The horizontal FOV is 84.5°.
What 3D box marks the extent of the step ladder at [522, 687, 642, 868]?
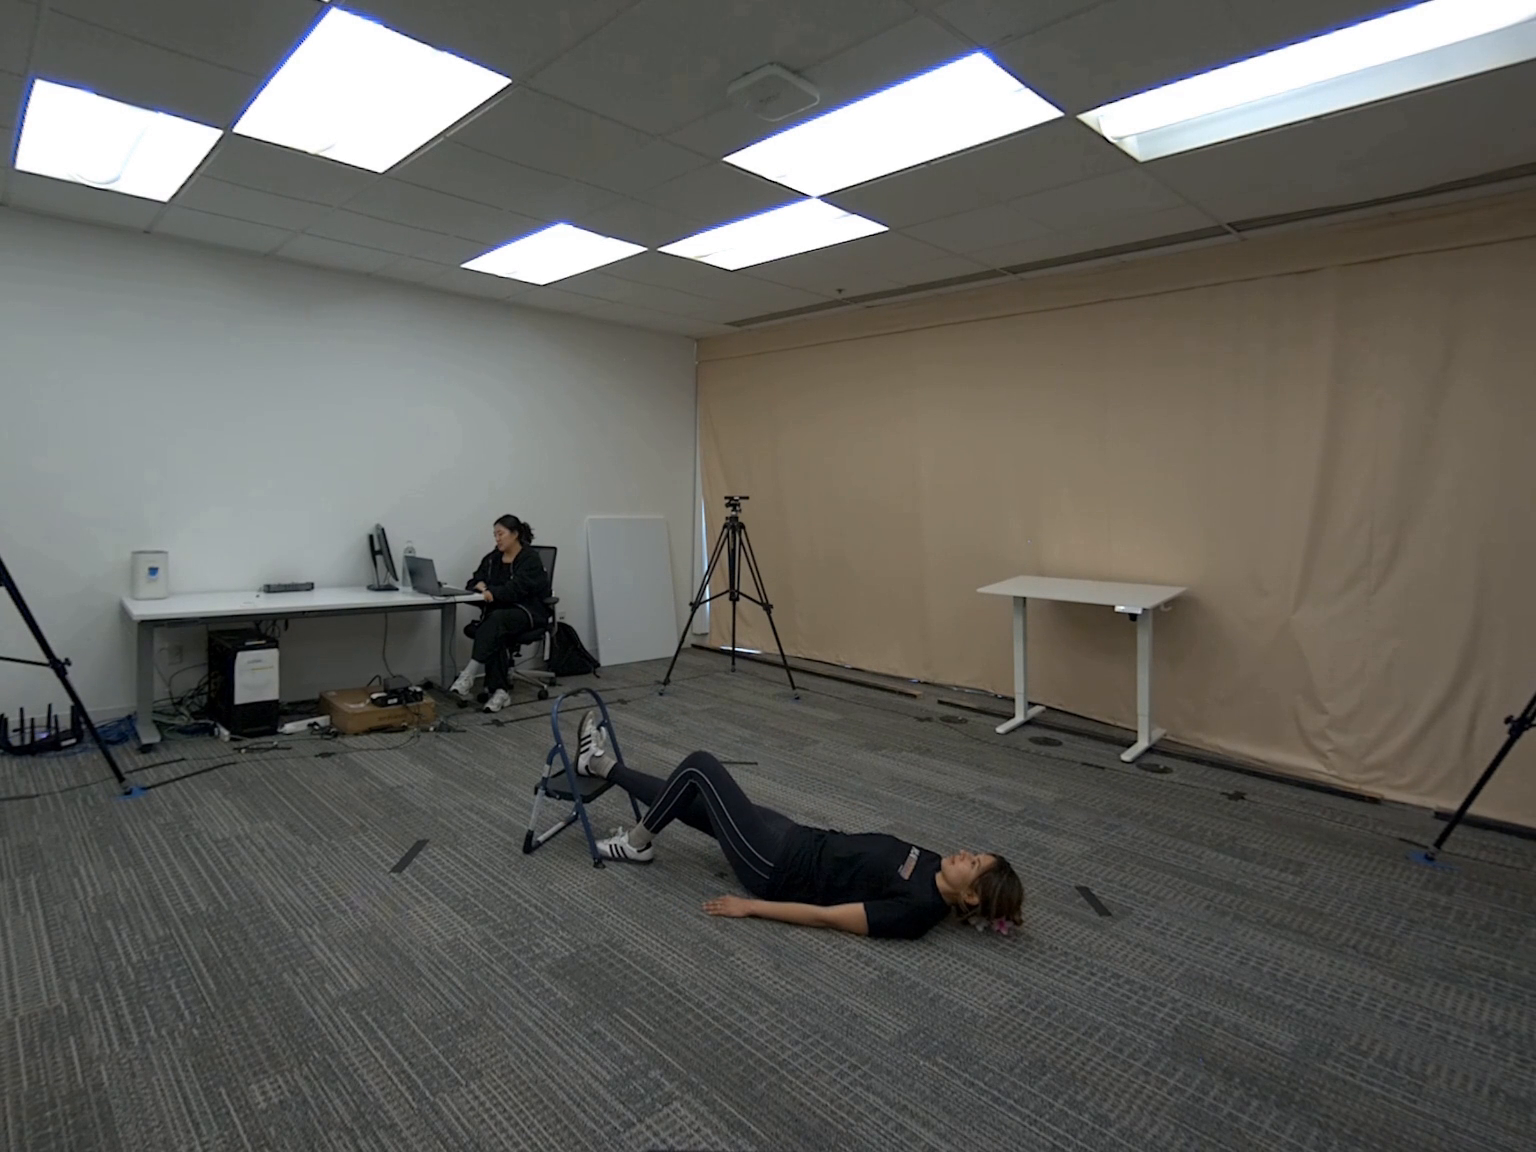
[{"bbox_3d":[-0.729,0.765,3.376,0.354,0.604,0.426,2,4,16],"label":"step ladder"}]
